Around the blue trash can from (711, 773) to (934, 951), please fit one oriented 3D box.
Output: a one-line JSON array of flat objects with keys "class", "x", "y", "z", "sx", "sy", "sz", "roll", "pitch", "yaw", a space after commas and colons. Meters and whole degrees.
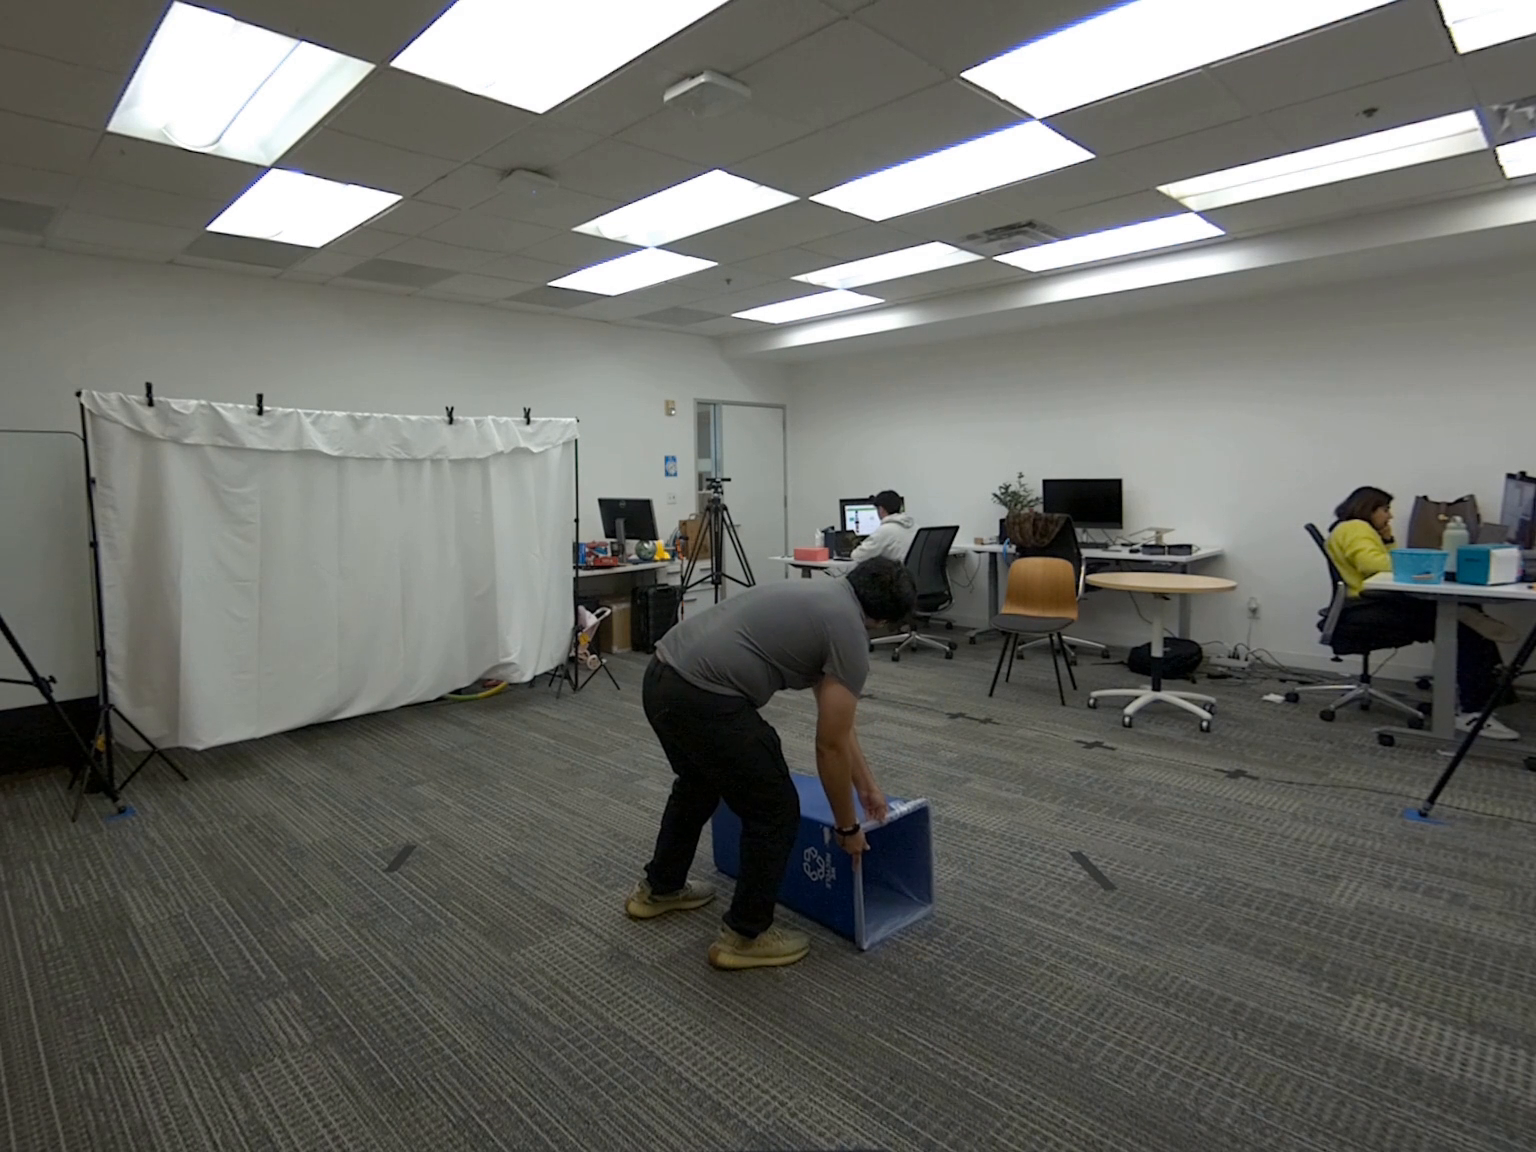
[{"class": "blue trash can", "x": 0.163, "y": 0.895, "z": 2.893, "sx": 0.364, "sy": 0.377, "sz": 0.735, "roll": -6, "pitch": 5, "yaw": -41}]
